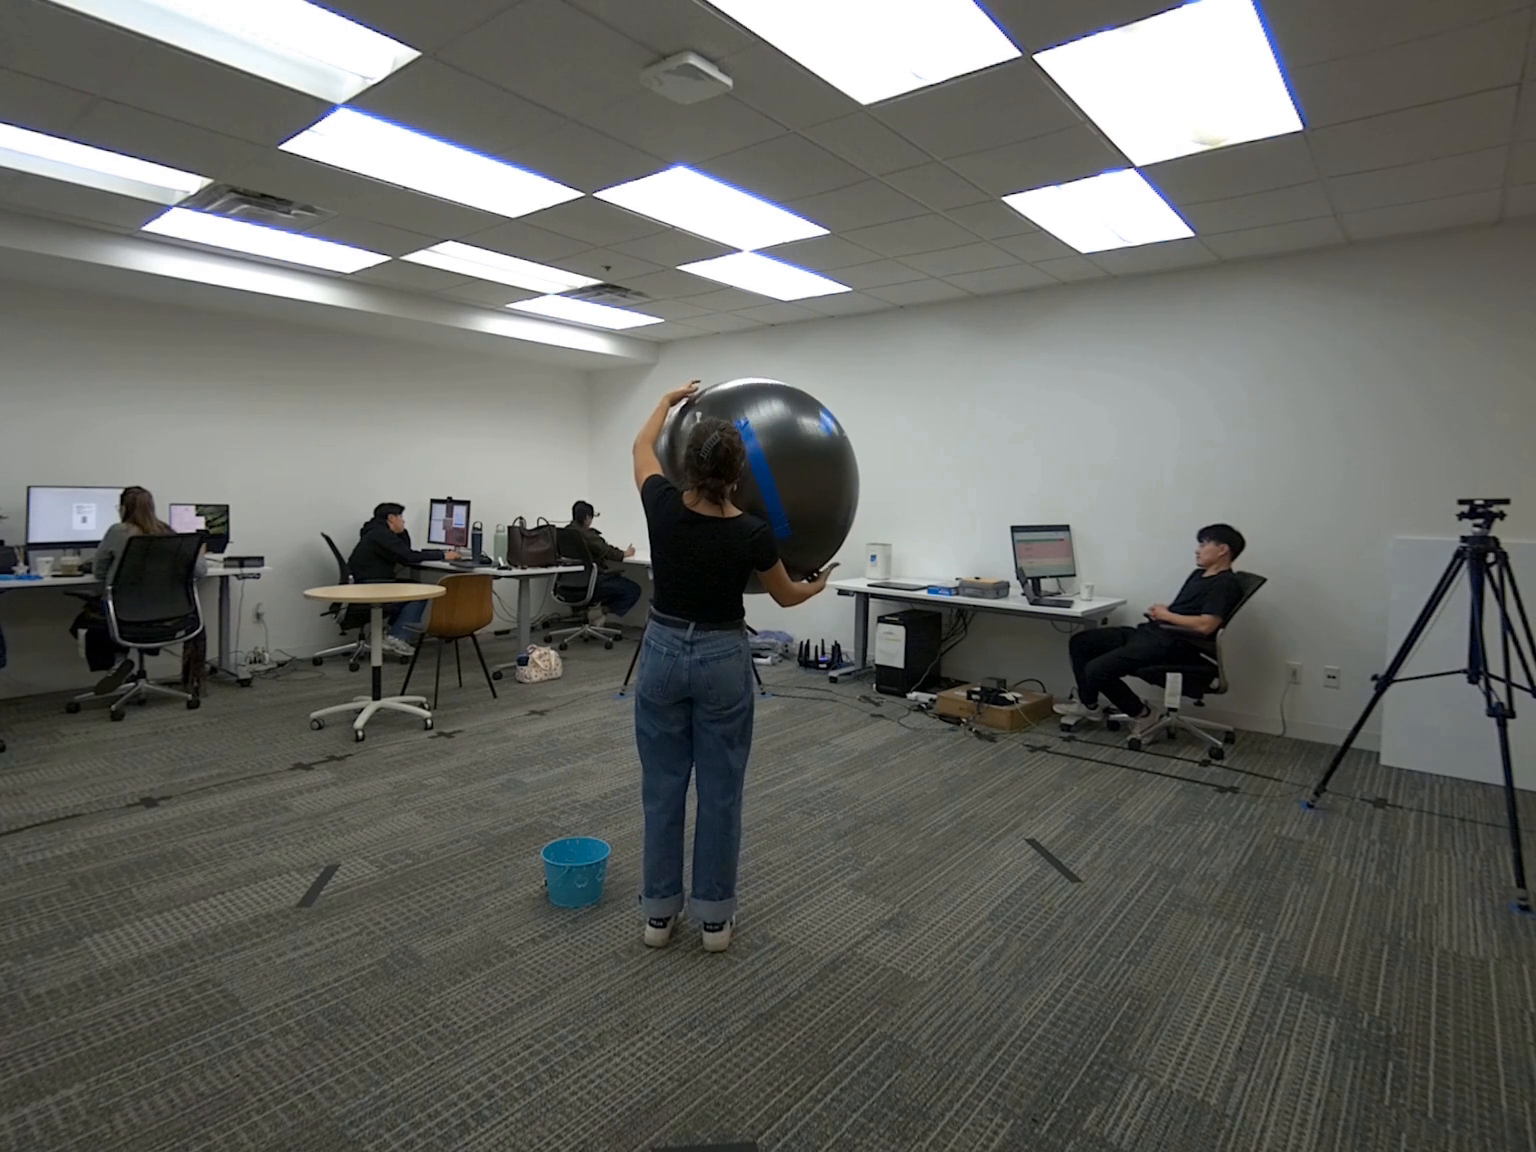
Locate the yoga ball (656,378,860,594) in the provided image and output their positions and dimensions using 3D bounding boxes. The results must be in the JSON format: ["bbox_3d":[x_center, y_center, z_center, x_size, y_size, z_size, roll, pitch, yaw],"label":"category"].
[{"bbox_3d":[-0.069,-0.317,3.026,0.757,0.755,0.762,1,4,-2],"label":"yoga ball"}]
